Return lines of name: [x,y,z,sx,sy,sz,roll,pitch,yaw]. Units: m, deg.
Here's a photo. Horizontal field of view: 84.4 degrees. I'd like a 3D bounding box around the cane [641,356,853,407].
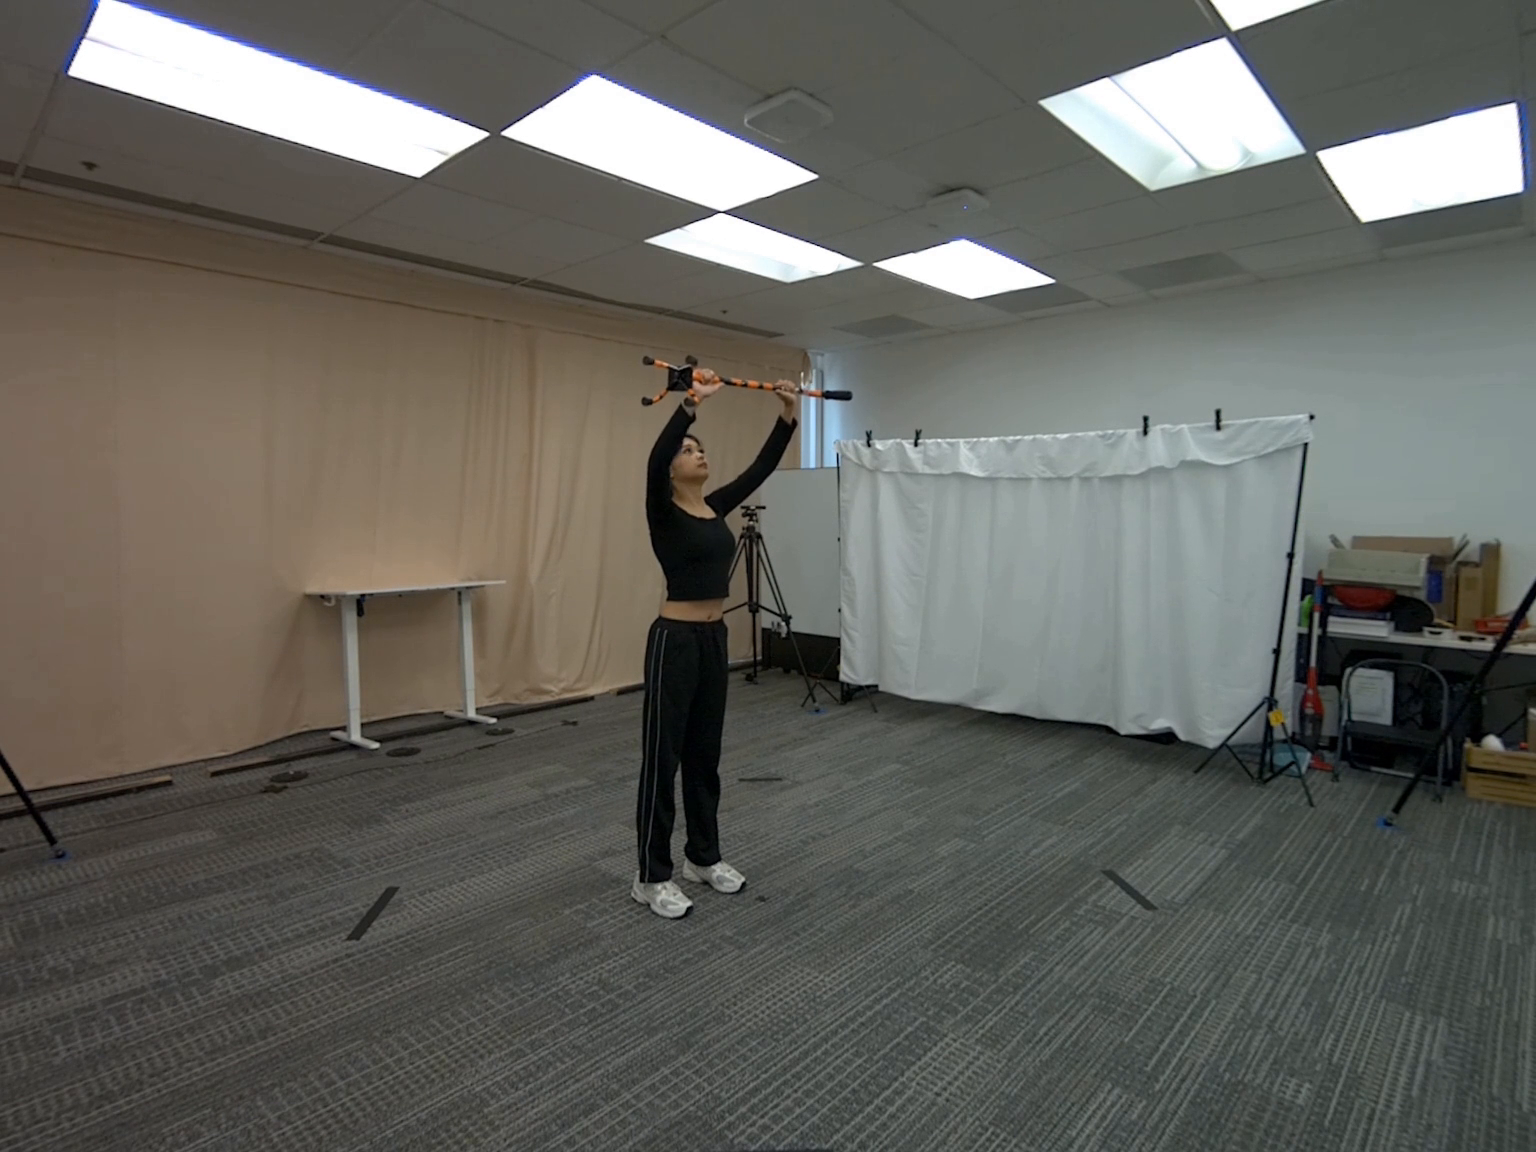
cane: [-0.031,-0.630,2.863,0.213,0.151,0.882,10,13,38]
